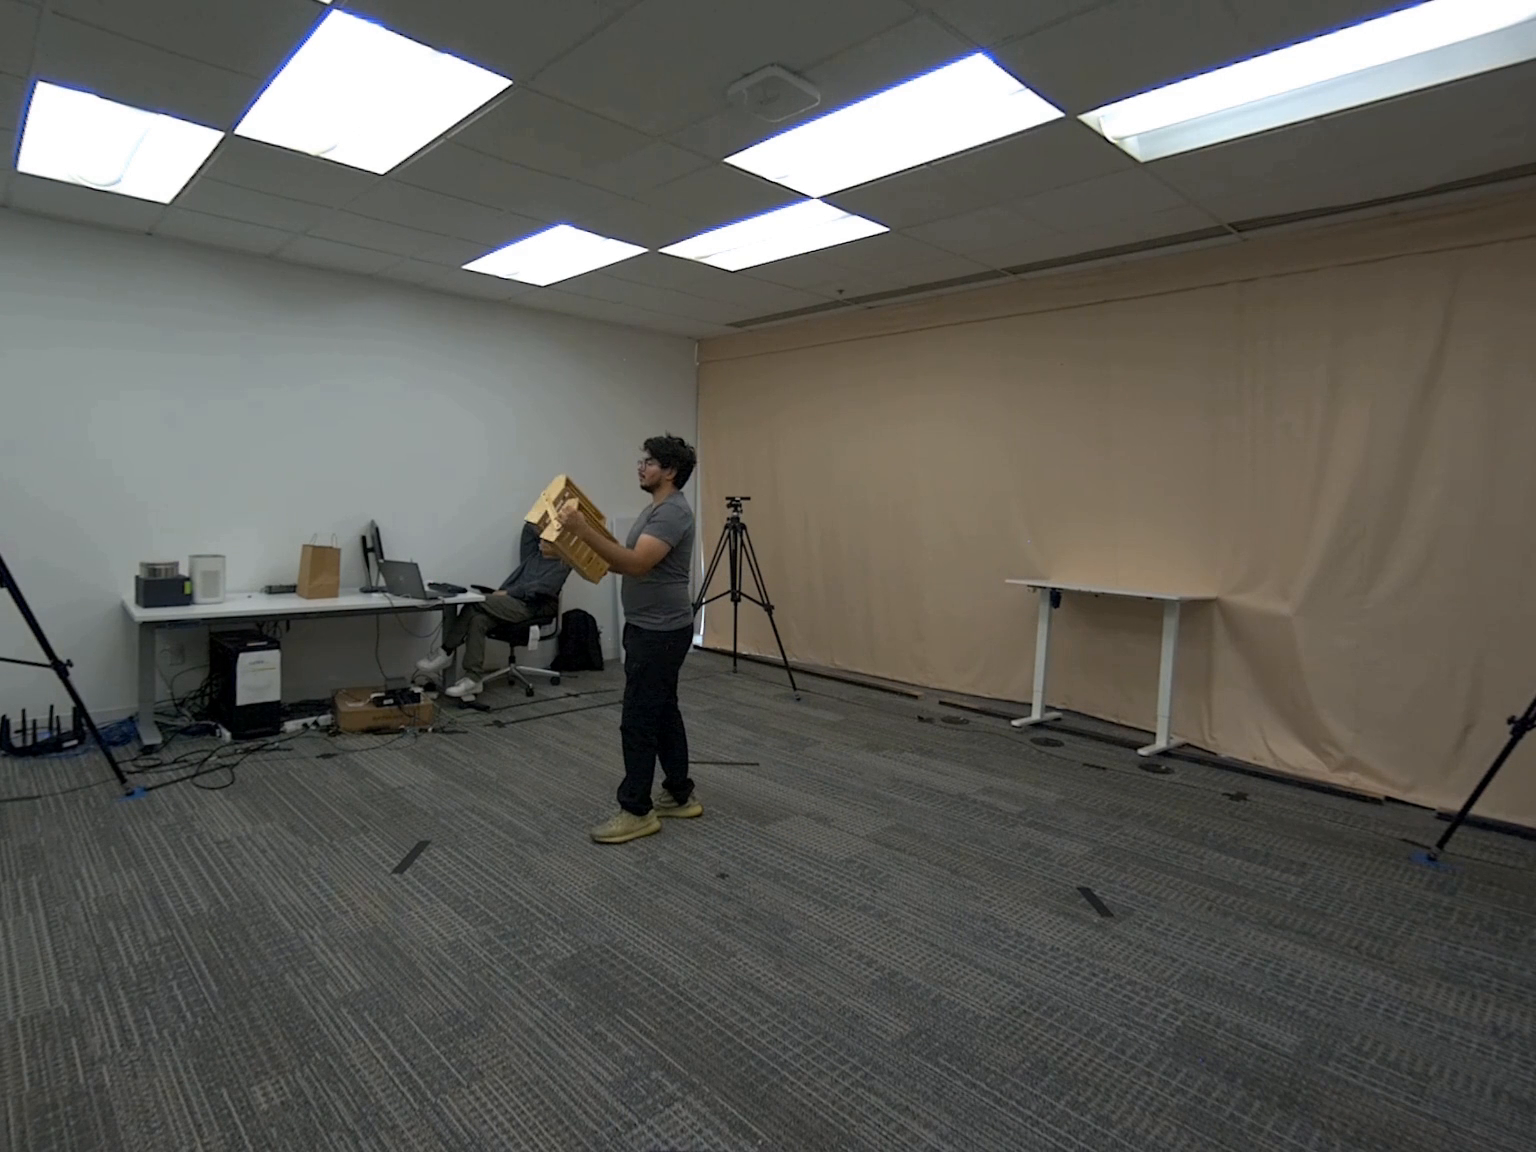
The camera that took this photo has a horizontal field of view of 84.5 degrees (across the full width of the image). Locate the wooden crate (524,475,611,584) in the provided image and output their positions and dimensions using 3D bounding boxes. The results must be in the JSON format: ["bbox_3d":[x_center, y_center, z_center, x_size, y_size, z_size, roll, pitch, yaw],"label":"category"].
[{"bbox_3d":[-0.777,-0.196,3.453,0.281,0.303,0.314,15,-25,41],"label":"wooden crate"}]
